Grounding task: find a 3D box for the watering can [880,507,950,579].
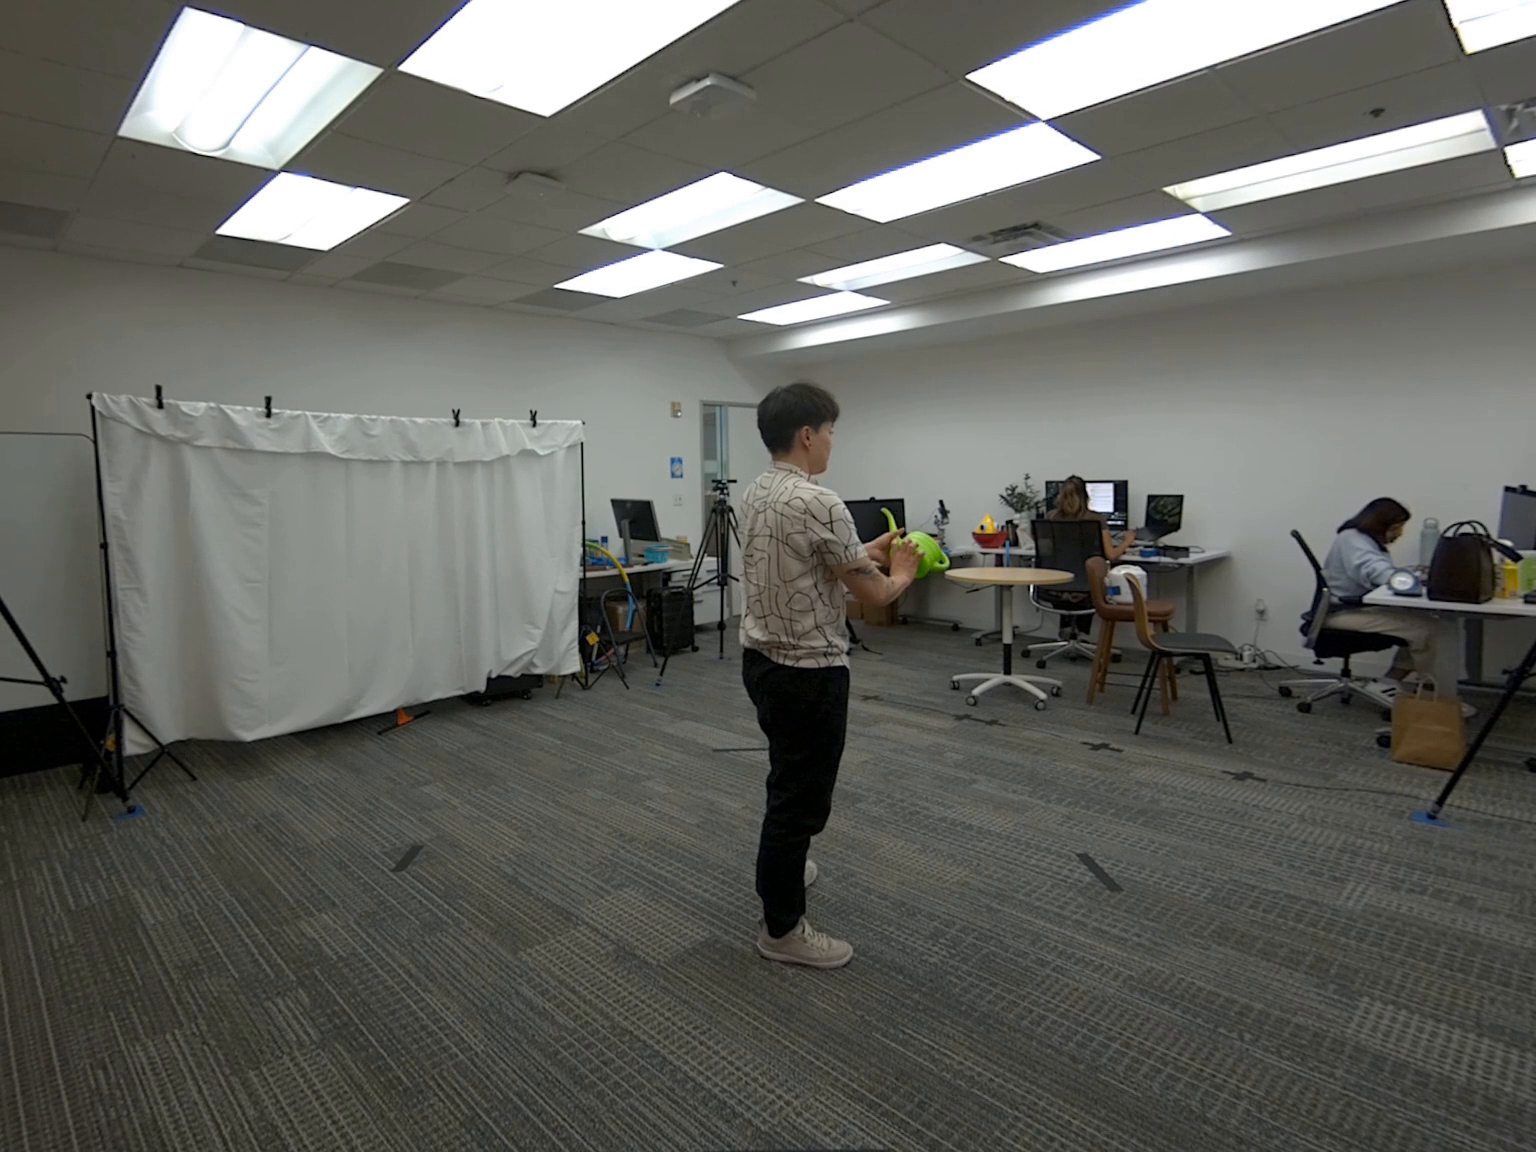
[{"bbox_3d":[0.443,-0.094,2.696,0.286,0.096,0.175,29,34,22],"label":"watering can"}]
